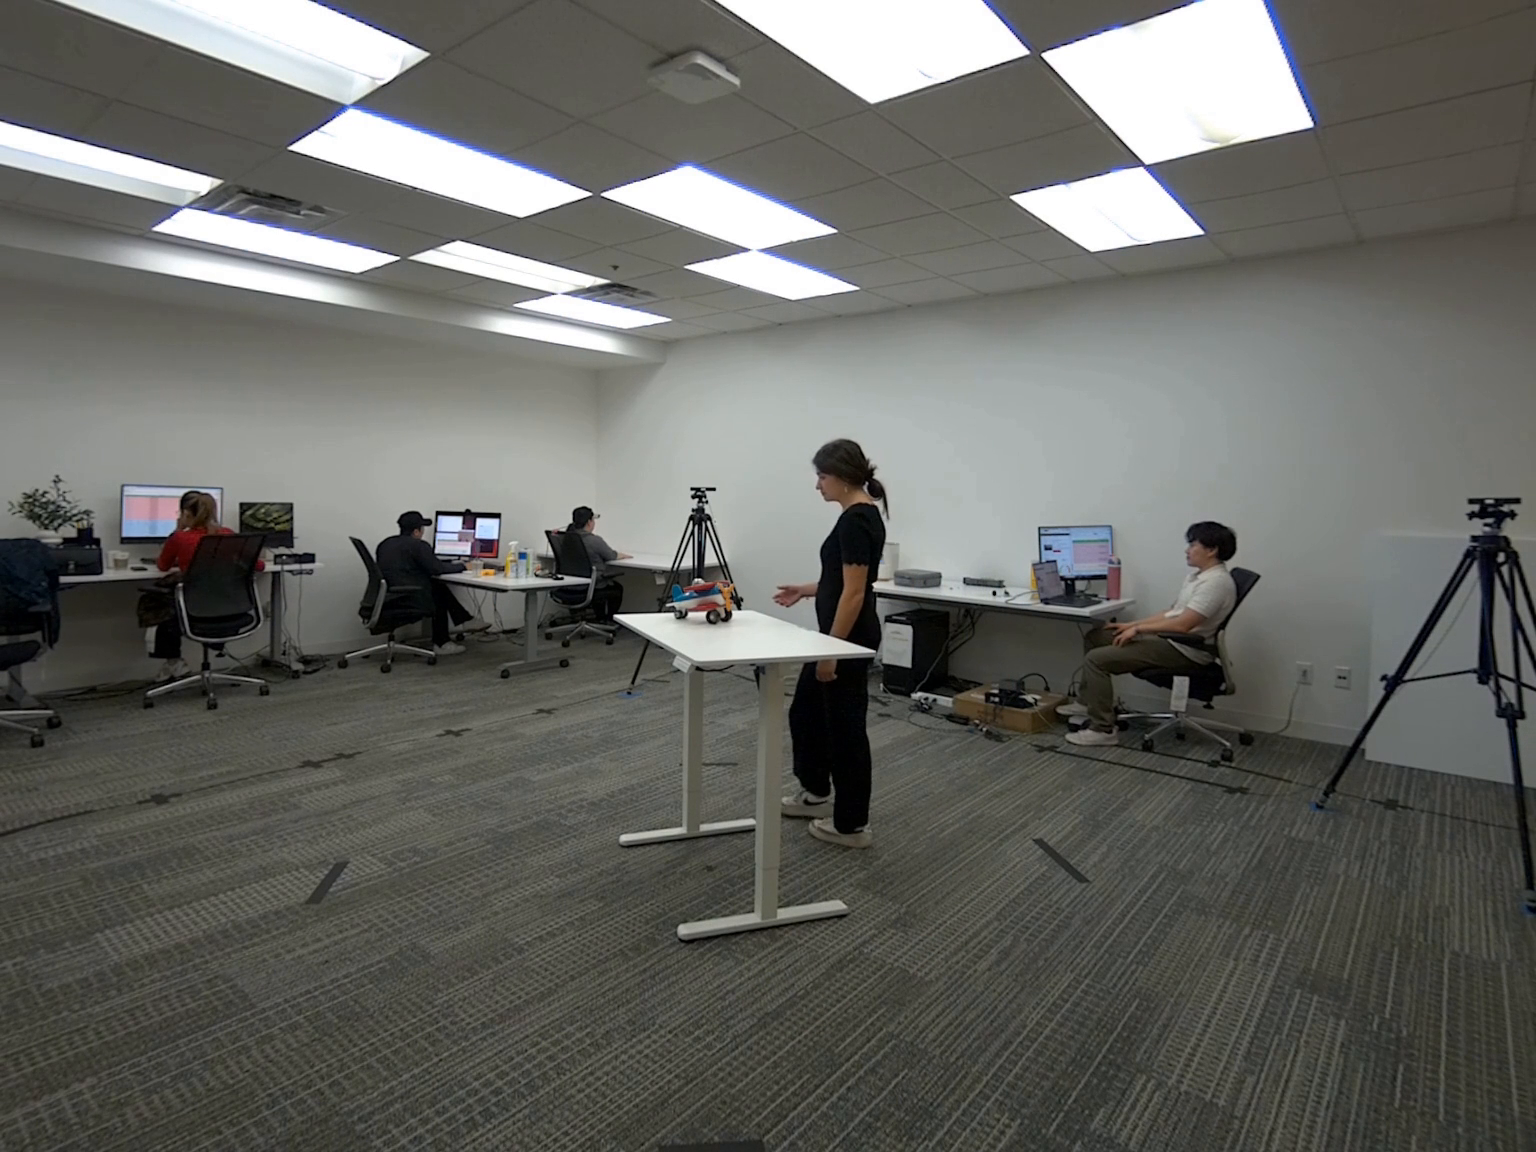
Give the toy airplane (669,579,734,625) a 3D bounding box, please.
[{"bbox_3d":[-0.272,0.093,3.252,0.260,0.156,0.251,1,4,2],"label":"toy airplane"}]
